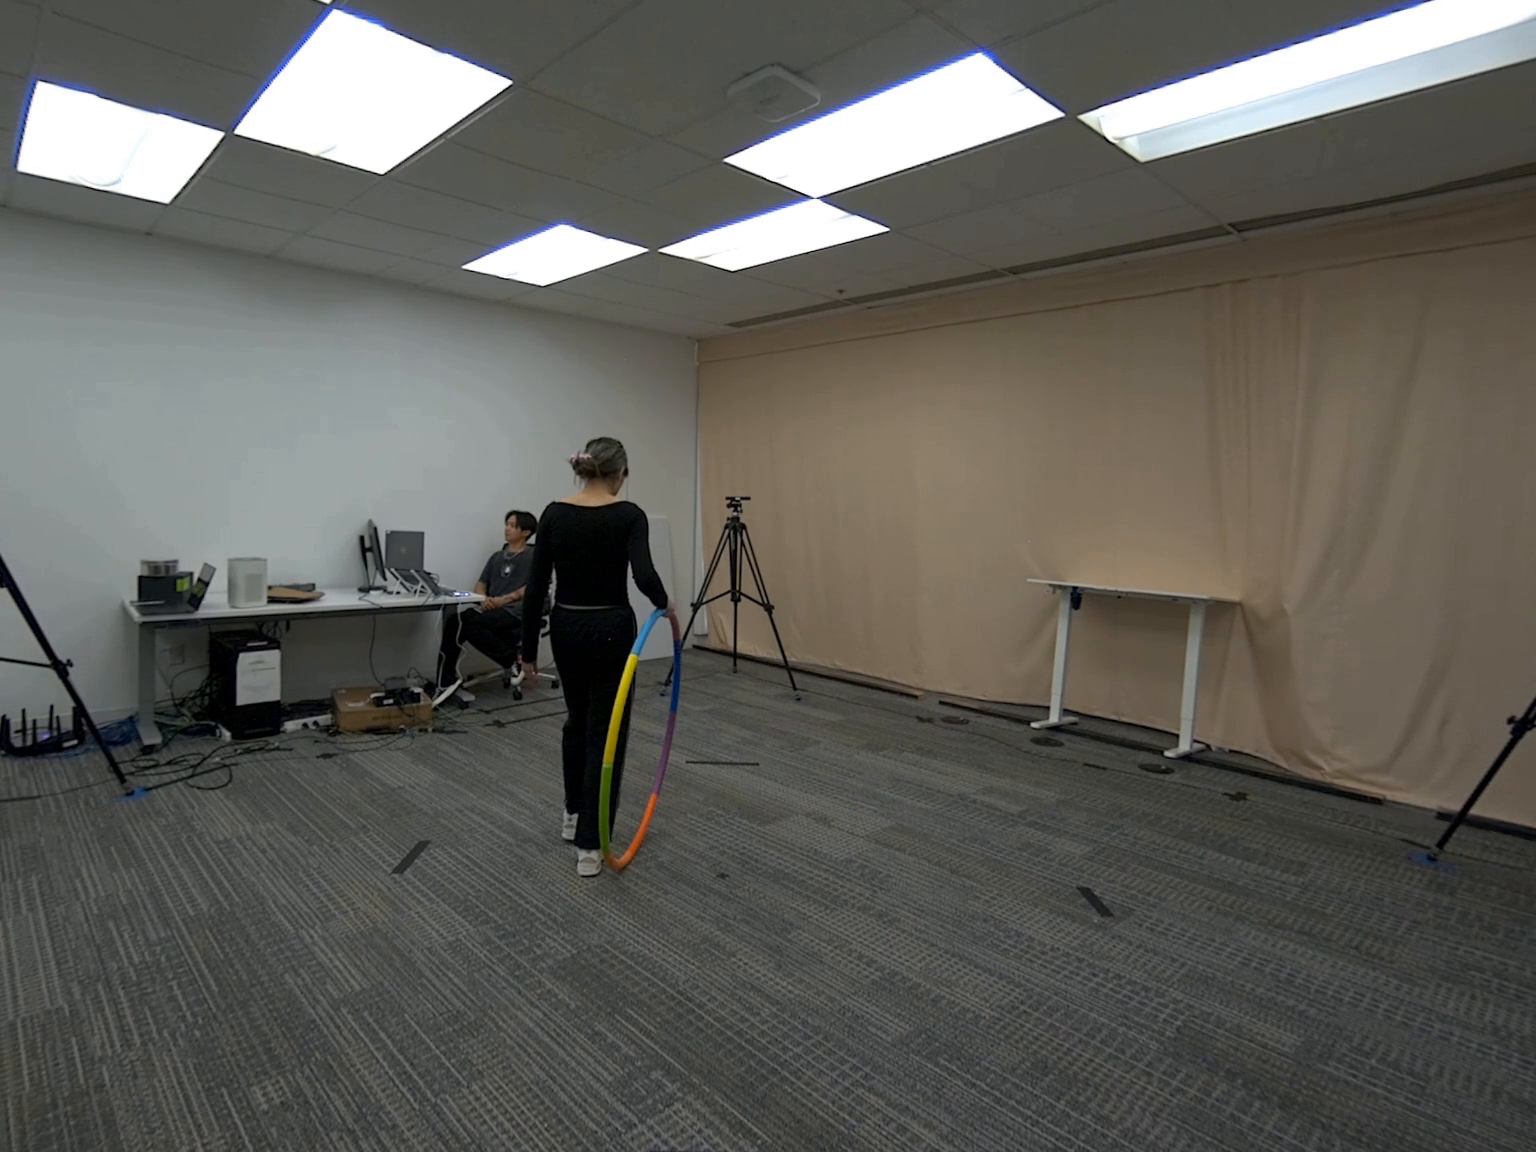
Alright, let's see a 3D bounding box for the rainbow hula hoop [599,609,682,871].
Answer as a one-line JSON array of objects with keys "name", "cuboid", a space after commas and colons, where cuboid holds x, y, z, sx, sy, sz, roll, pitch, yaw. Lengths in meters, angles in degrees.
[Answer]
[{"name": "rainbow hula hoop", "cuboid": [-0.471, 0.599, 3.206, 0.036, 0.975, 0.975, 9, 5, 6]}]
